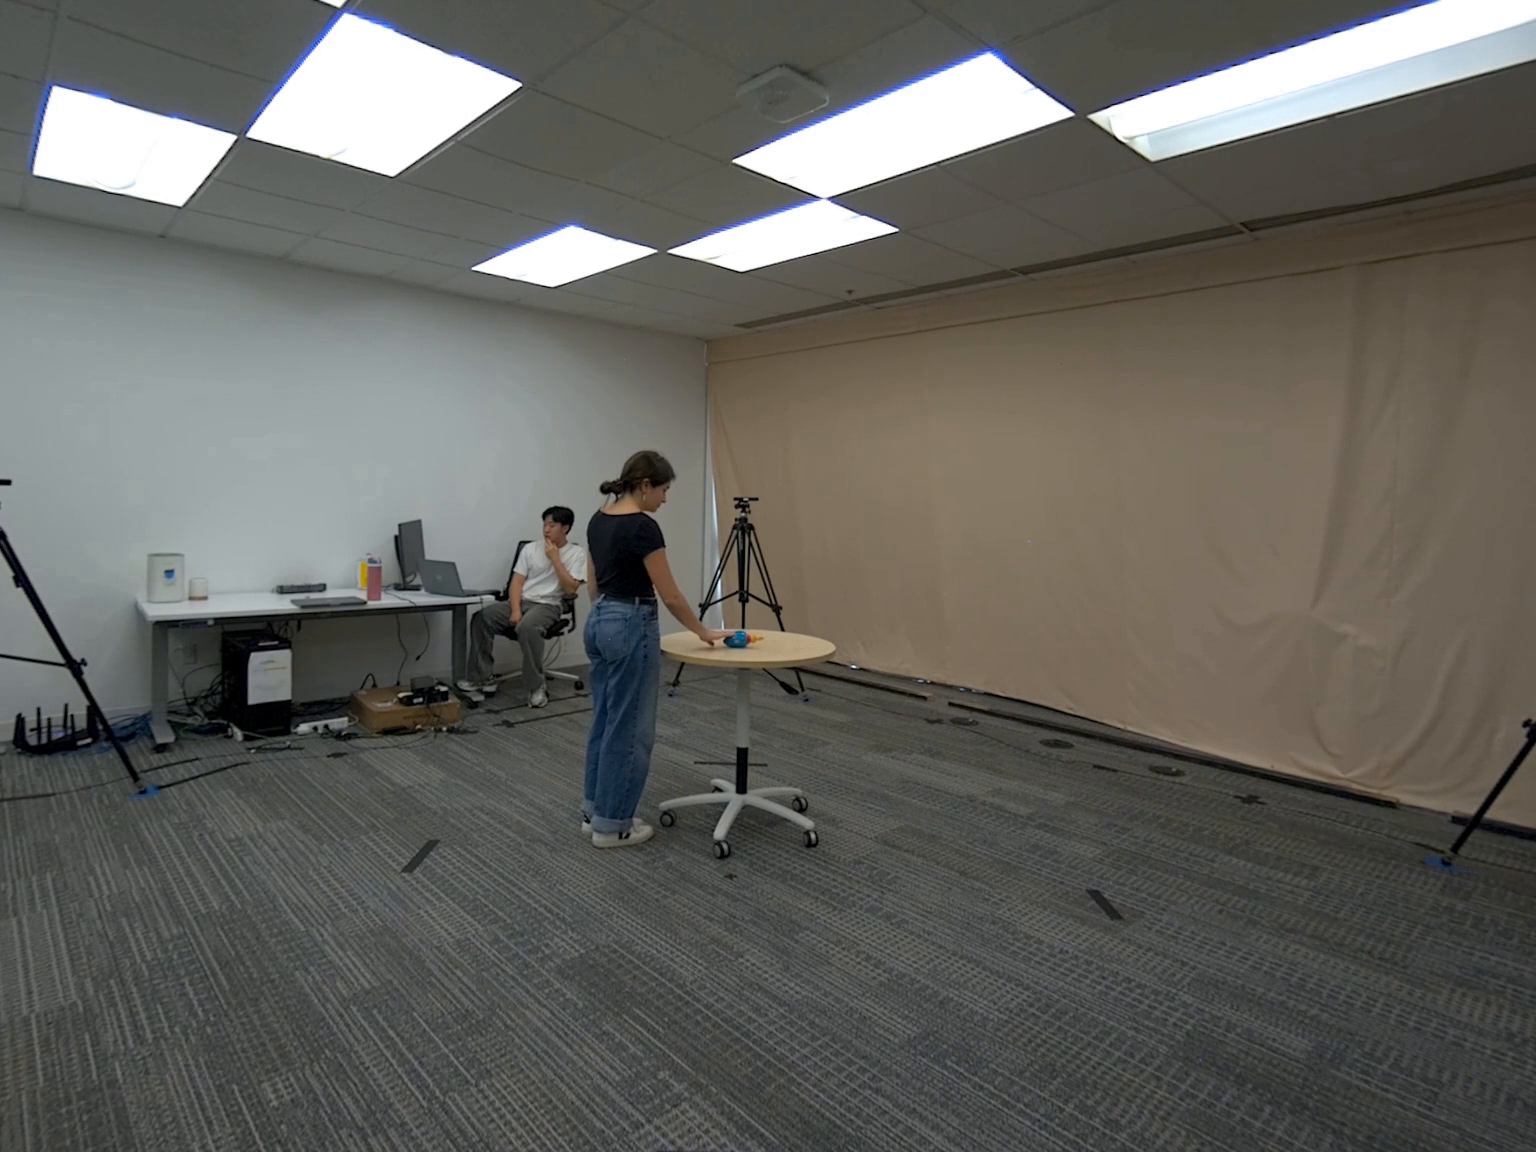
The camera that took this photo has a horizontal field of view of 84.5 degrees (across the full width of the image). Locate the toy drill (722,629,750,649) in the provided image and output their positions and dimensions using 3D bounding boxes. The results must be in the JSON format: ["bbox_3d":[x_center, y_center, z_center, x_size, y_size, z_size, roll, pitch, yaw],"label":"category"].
[{"bbox_3d":[-0.107,0.259,3.498,0.171,0.061,0.145,-6,4,8],"label":"toy drill"}]
